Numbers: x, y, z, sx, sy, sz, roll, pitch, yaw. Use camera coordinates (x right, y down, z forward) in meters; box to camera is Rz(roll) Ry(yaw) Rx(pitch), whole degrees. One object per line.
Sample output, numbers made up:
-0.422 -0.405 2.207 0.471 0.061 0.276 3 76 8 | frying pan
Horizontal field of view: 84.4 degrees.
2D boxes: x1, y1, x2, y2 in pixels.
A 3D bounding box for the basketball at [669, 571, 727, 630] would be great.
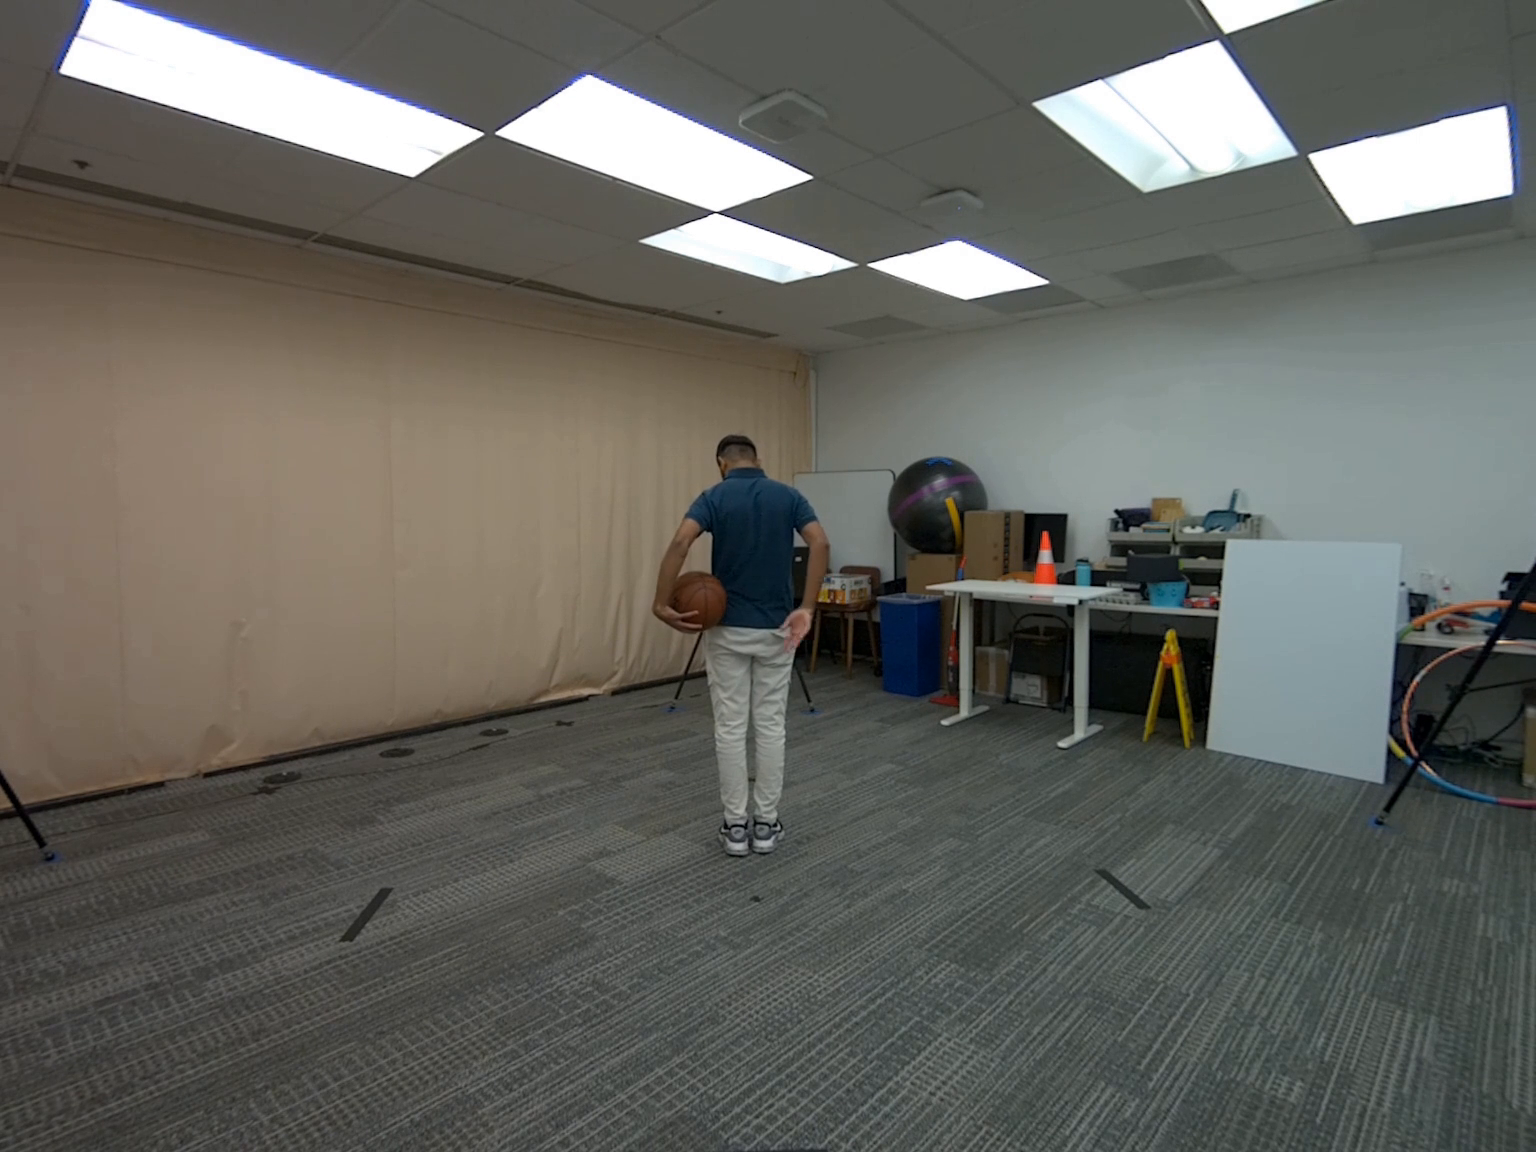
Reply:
-0.279 0.099 3.321 0.236 0.235 0.237 0 4 -2 | basketball
